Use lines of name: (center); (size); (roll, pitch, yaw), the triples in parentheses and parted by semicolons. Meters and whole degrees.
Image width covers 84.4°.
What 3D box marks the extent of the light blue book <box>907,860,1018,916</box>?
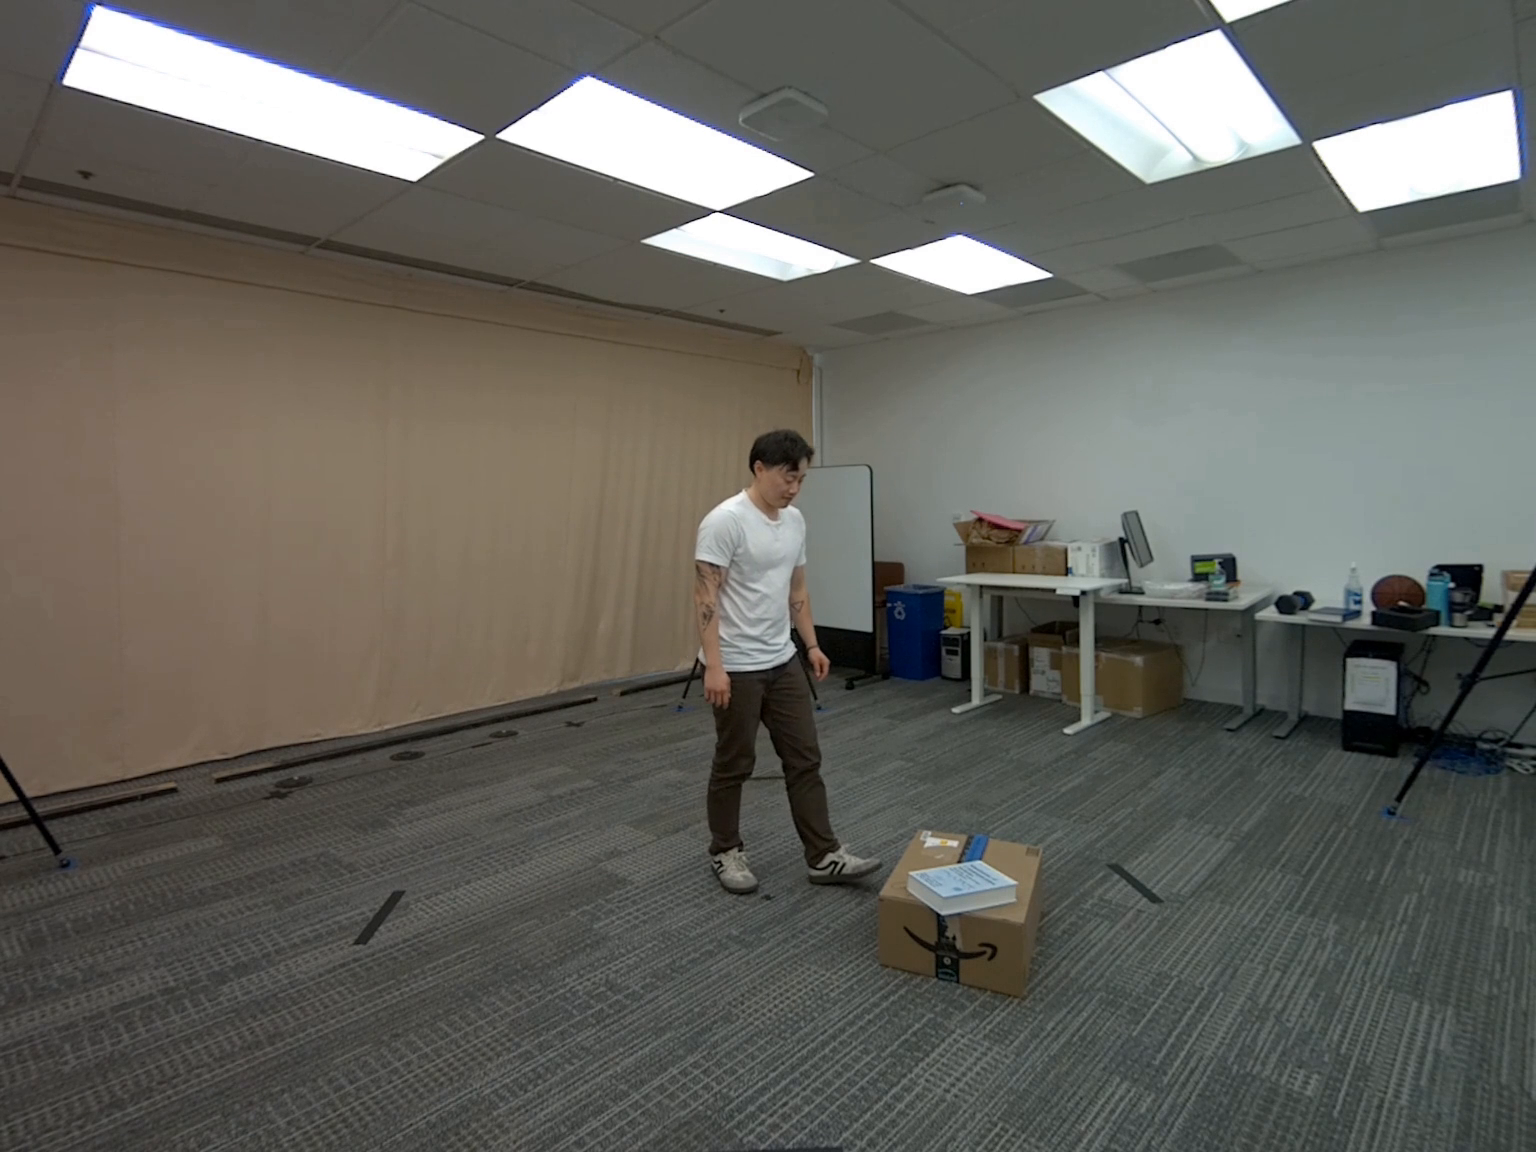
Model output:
light blue book: (0.587, 0.930, 2.514); (0.255, 0.059, 0.196); (-2, 4, -22)
